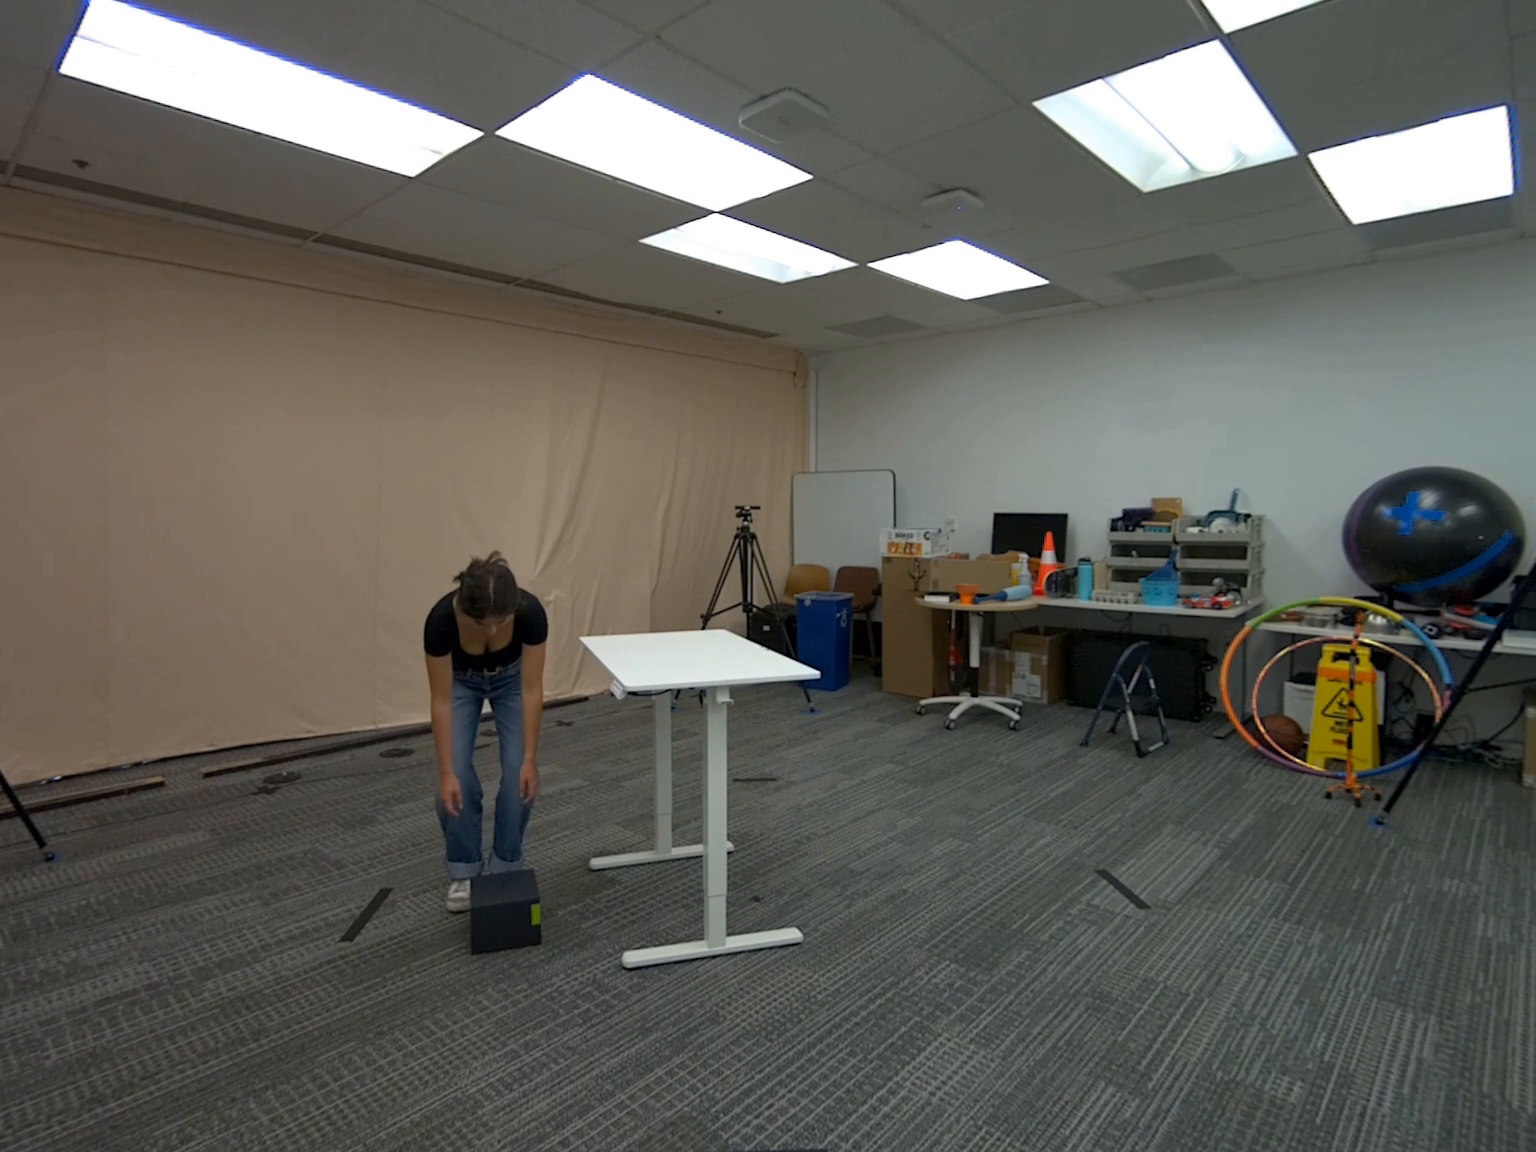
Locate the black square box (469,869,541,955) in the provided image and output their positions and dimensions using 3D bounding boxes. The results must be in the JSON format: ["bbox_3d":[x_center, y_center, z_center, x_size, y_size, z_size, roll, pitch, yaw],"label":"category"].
[{"bbox_3d":[-0.860,1.089,2.746,0.213,0.155,0.233,-2,4,-19],"label":"black square box"}]
